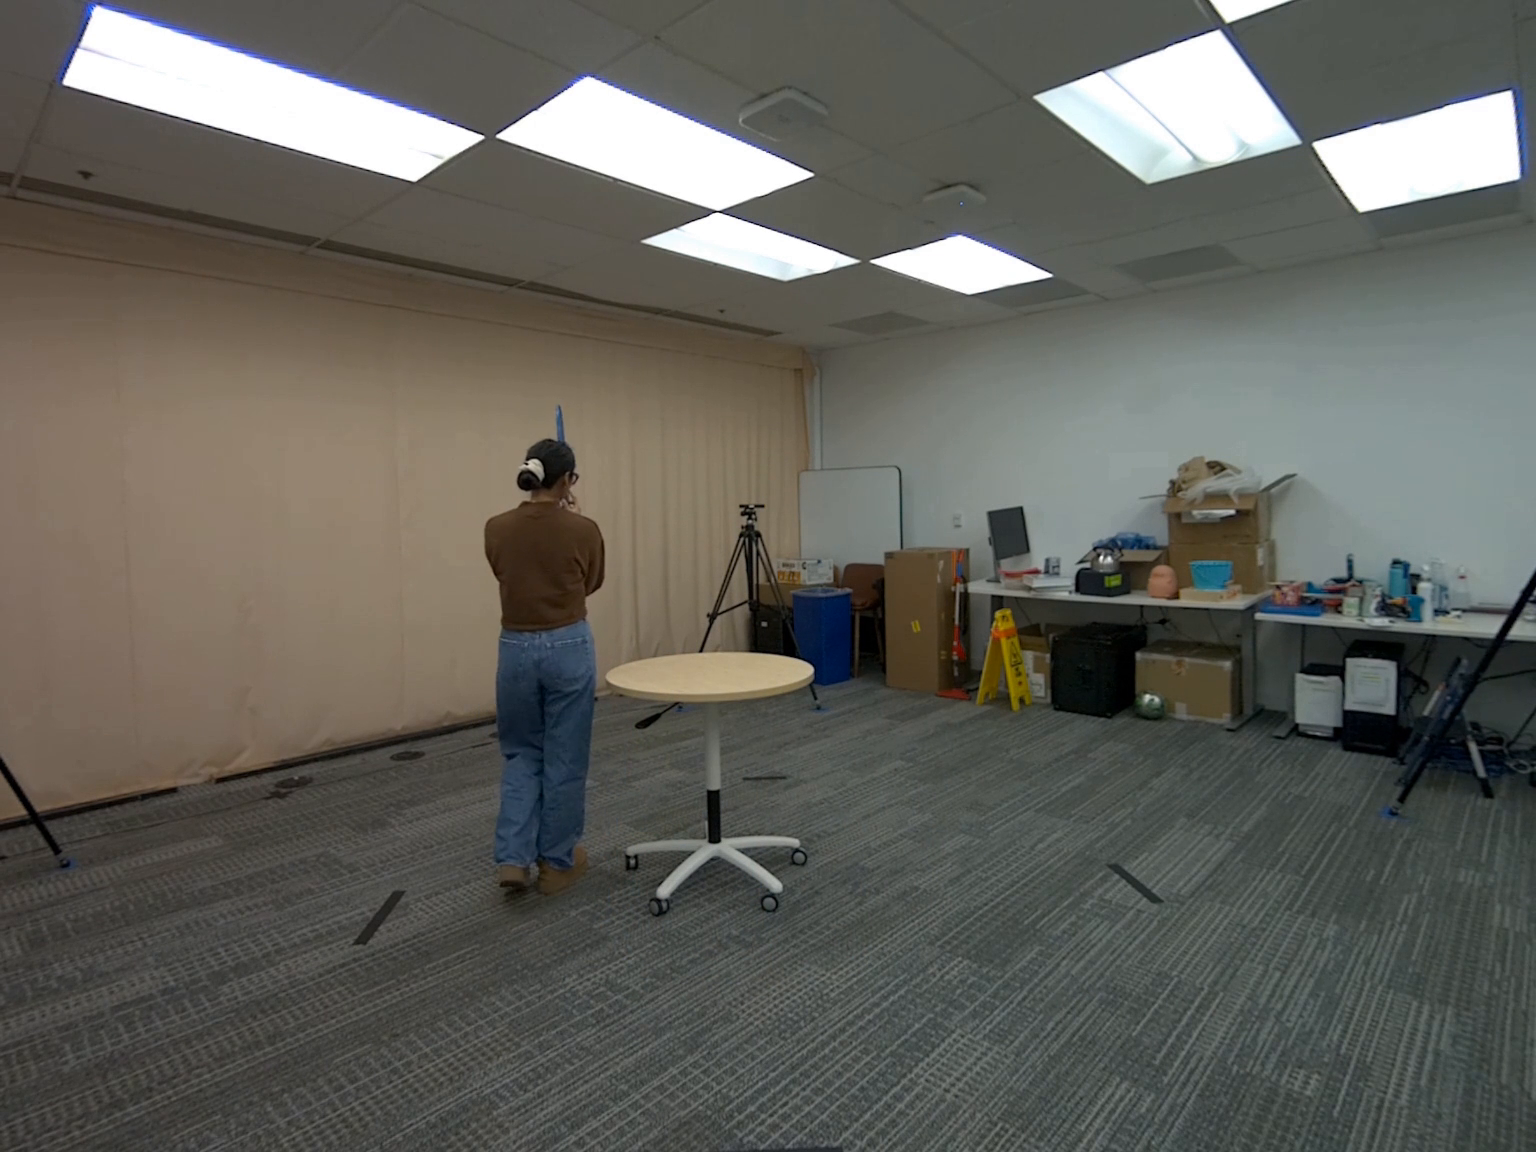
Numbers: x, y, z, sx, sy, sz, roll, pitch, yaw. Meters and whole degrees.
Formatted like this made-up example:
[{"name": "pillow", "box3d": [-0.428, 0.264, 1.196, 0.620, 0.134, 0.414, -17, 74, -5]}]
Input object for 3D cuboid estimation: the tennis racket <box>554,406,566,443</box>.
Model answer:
[{"name": "tennis racket", "box3d": [-0.787, -0.457, 3.248, 0.031, 0.437, 0.213, -7, -13, -7]}]
